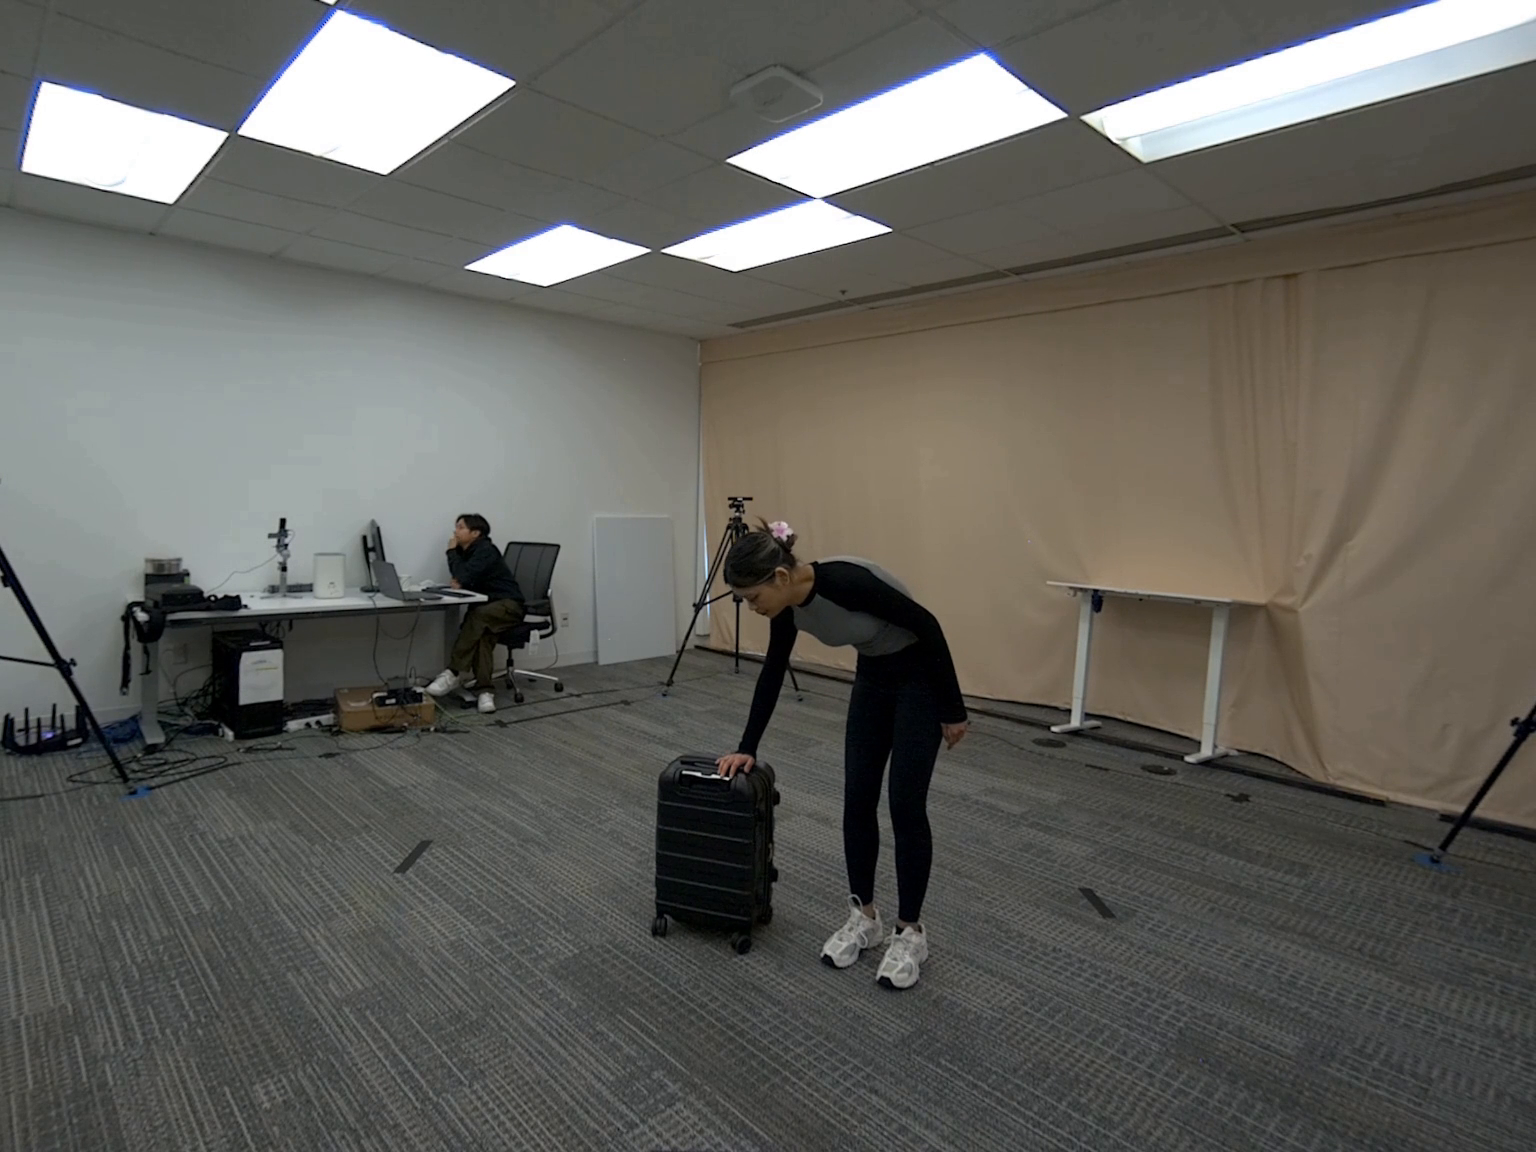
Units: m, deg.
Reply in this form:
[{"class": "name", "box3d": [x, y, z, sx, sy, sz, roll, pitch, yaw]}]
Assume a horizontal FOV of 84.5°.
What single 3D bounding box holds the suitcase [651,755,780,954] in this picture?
[{"class": "suitcase", "box3d": [-0.178, 0.869, 2.736, 0.381, 0.548, 0.245, 3, 3, 20]}]
